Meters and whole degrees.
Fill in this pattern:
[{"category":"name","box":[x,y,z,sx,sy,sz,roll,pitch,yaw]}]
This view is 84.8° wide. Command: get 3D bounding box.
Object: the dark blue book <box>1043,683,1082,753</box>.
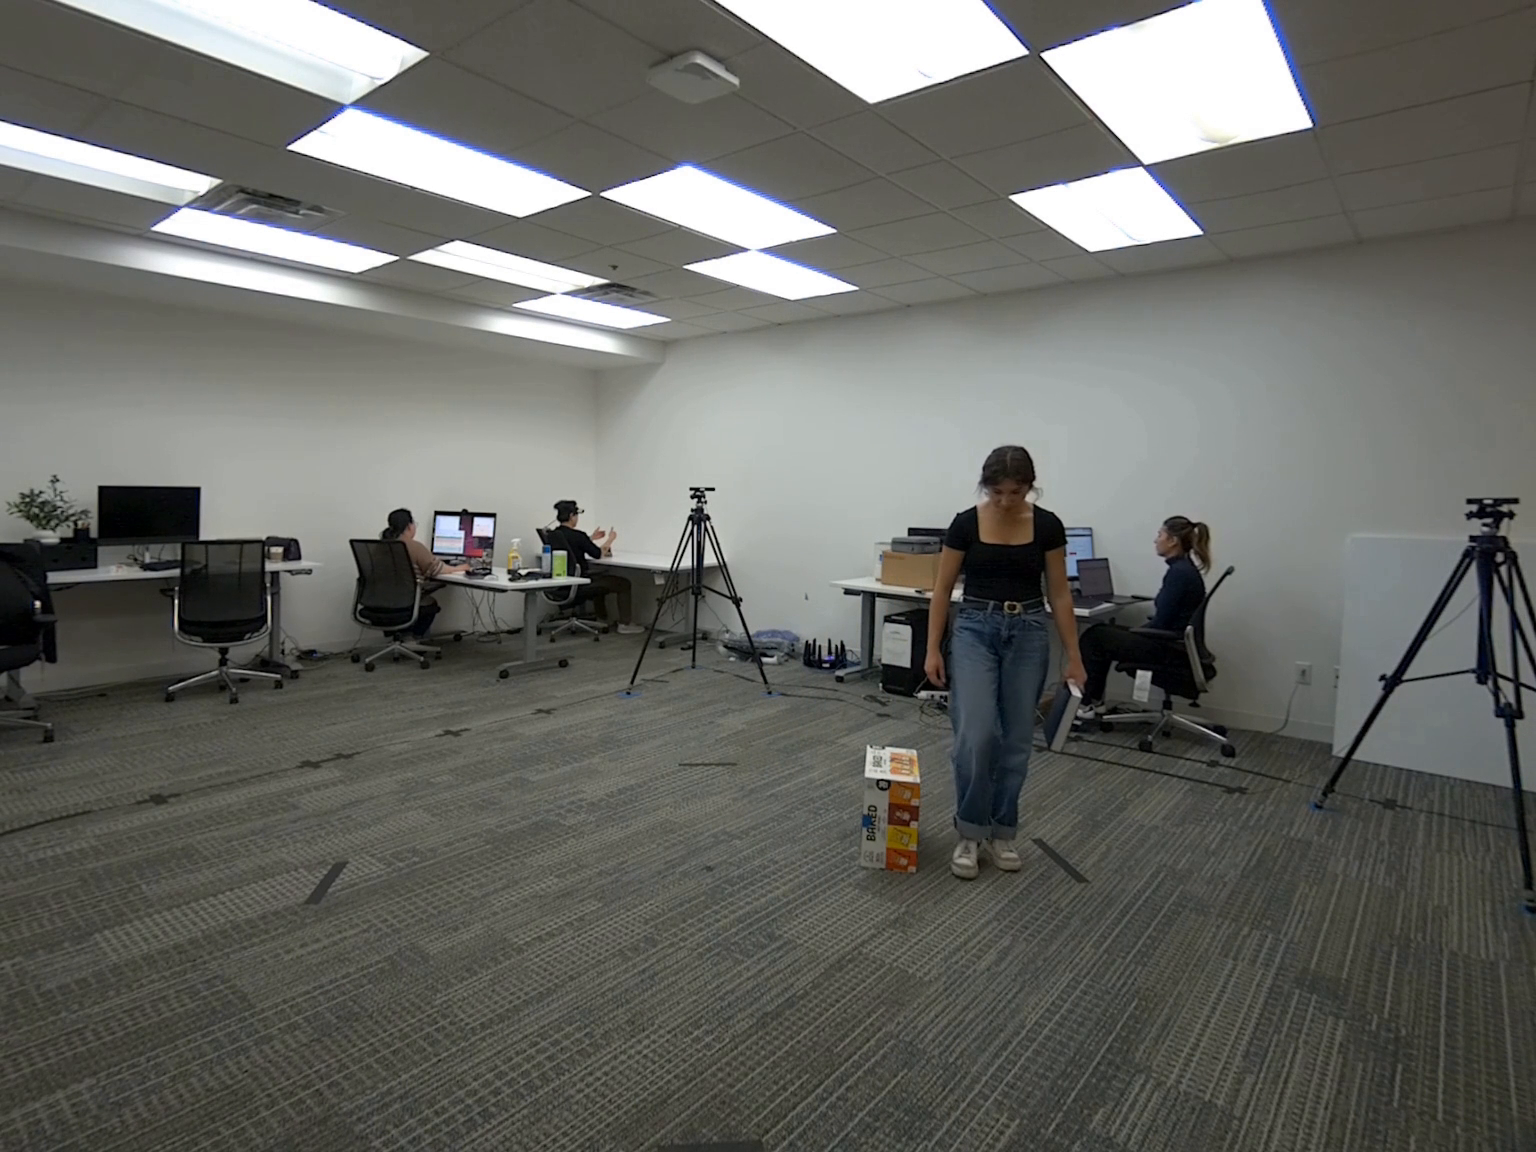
[{"category":"dark blue book","box":[1.075,0.499,3.140,0.045,0.242,0.165,12,20,1]}]
